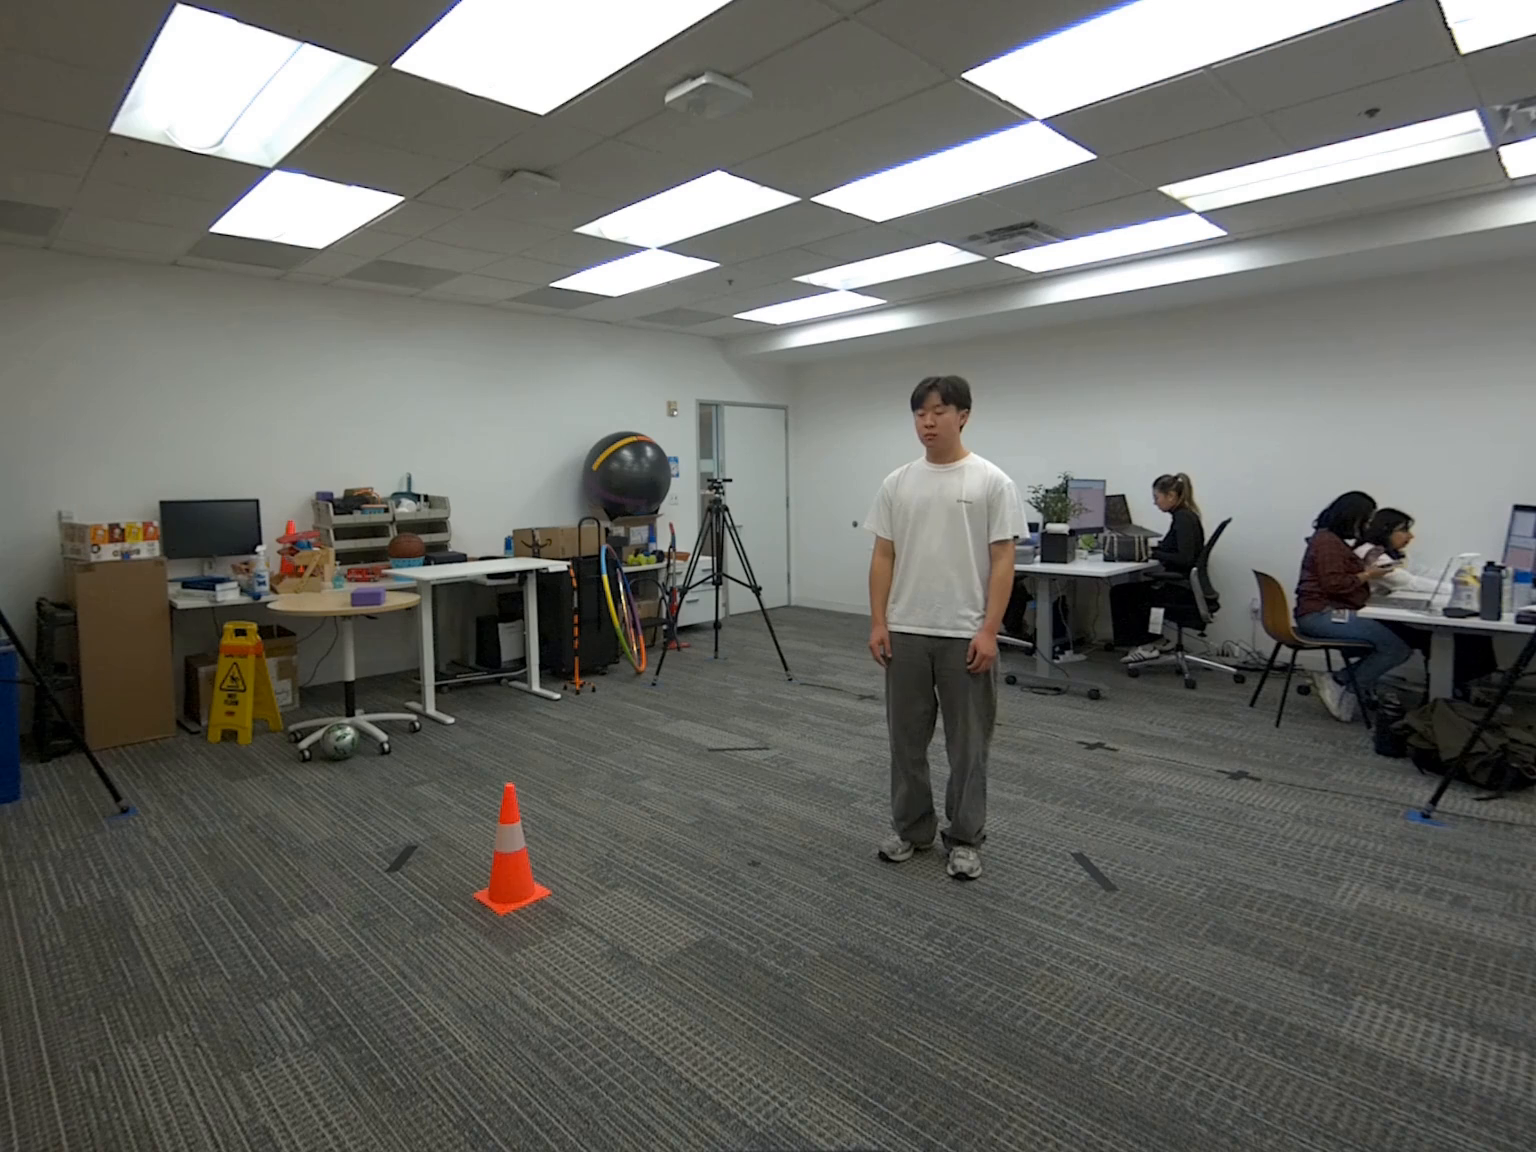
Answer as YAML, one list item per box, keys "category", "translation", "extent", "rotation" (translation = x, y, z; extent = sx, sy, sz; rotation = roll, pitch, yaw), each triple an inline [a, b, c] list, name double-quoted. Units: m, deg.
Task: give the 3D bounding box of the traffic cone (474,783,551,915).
- category: "traffic cone"
  translation: [-0.877, 0.901, 2.904]
  extent: [0.199, 0.383, 0.209]
  rotation: [-5, 4, -42]
